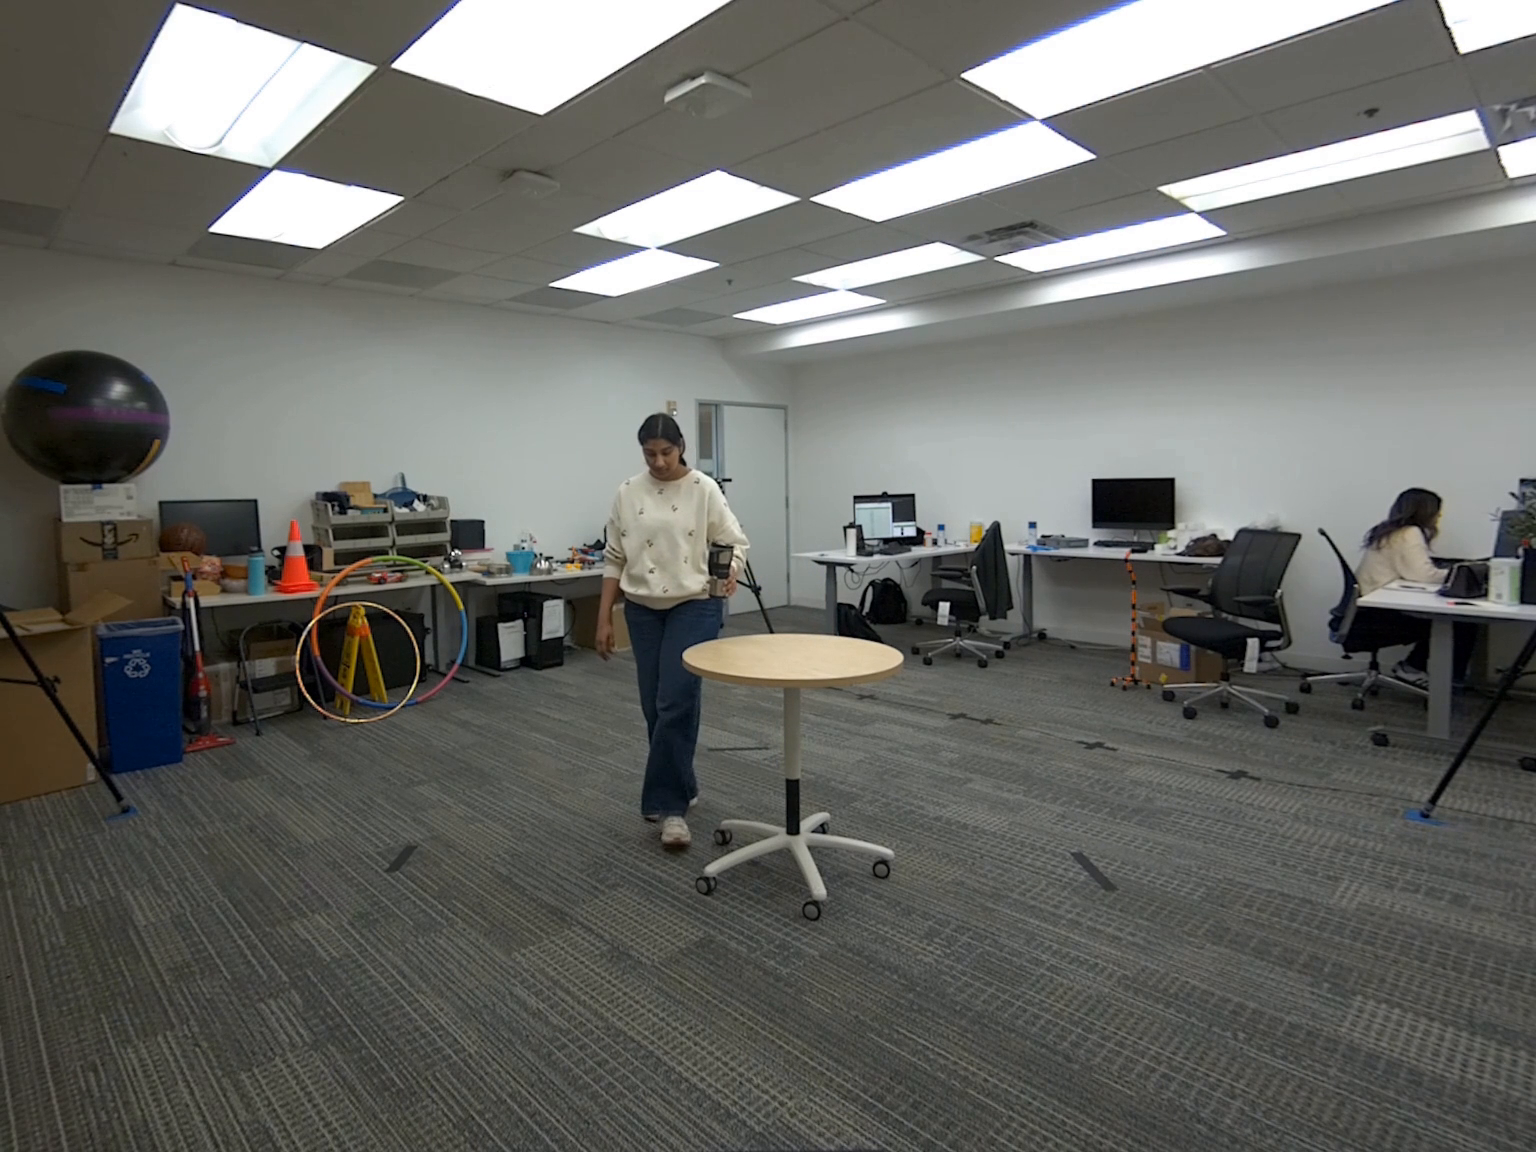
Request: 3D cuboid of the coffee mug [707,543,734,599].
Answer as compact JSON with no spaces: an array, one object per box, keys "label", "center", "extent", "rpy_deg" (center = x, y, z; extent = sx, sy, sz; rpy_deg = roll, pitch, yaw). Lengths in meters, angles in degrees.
[{"label":"coffee mug","center":[-0.189,-0.015,3.137],"extent":[0.091,0.202,0.119],"rpy_deg":[10,7,35]}]
